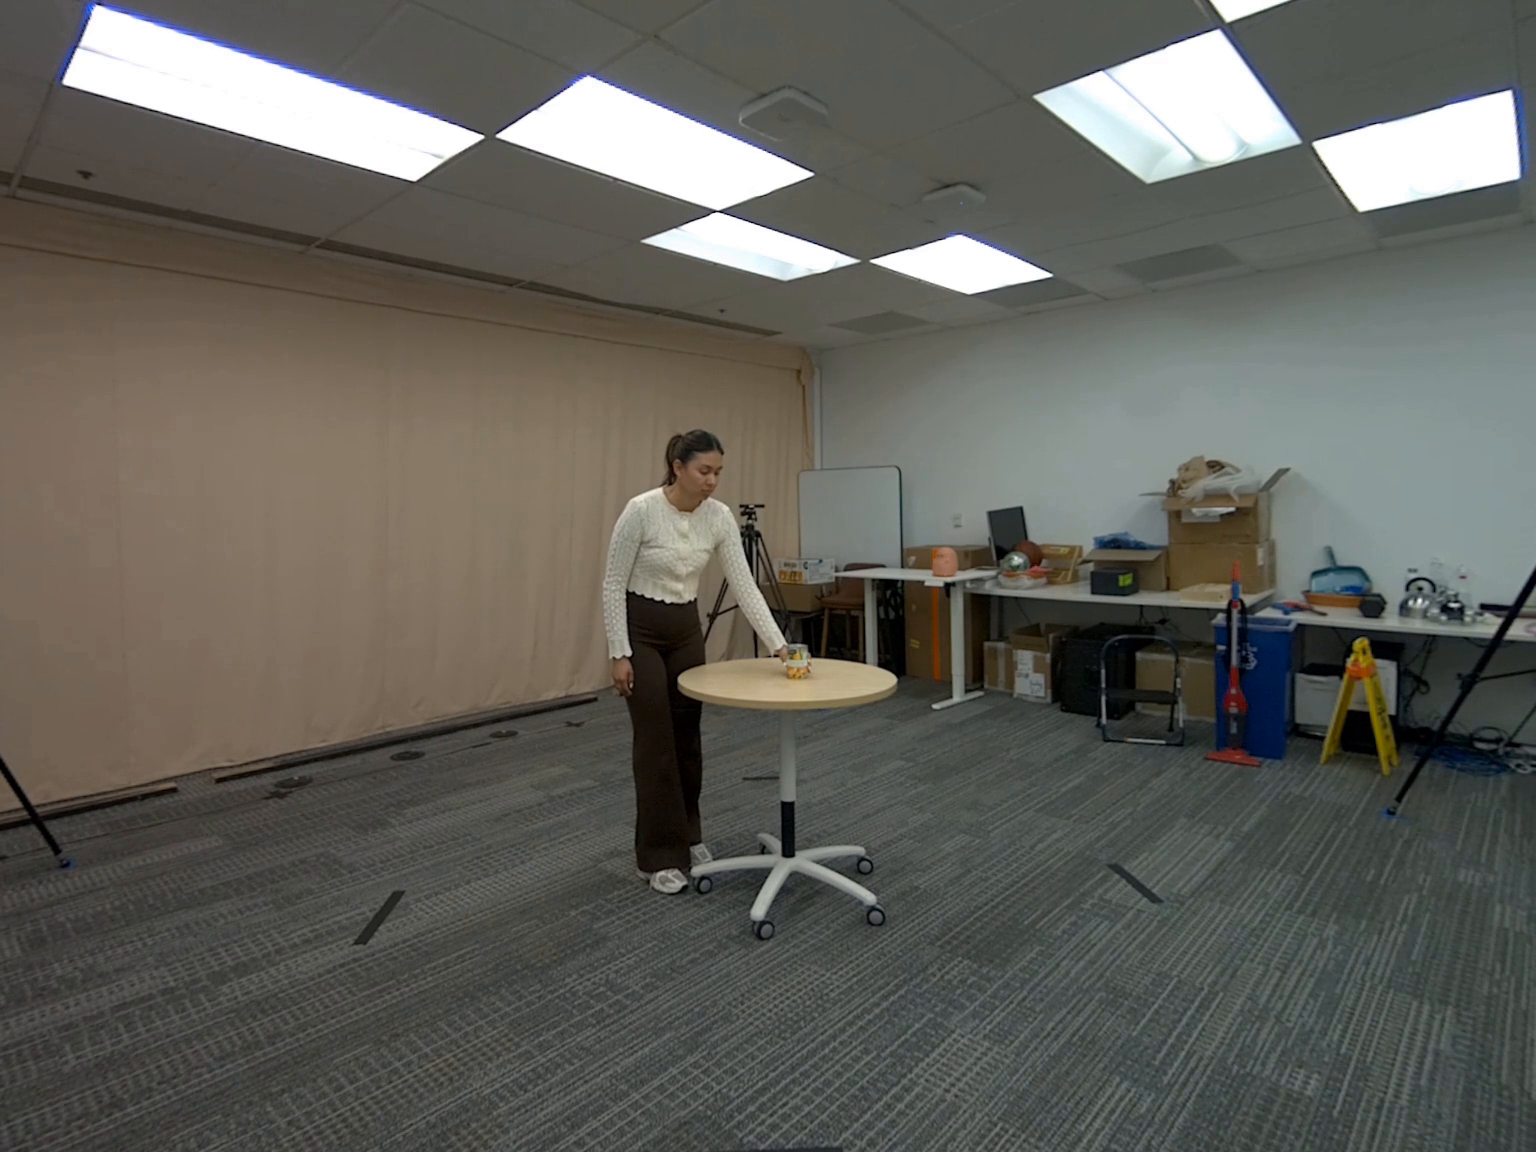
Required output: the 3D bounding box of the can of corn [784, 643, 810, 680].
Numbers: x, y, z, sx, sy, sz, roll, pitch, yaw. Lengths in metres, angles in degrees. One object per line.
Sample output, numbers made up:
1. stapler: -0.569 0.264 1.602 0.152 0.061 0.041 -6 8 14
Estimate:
1. can of corn: 0.101 0.300 2.942 0.074 0.111 0.074 -2 3 -2
